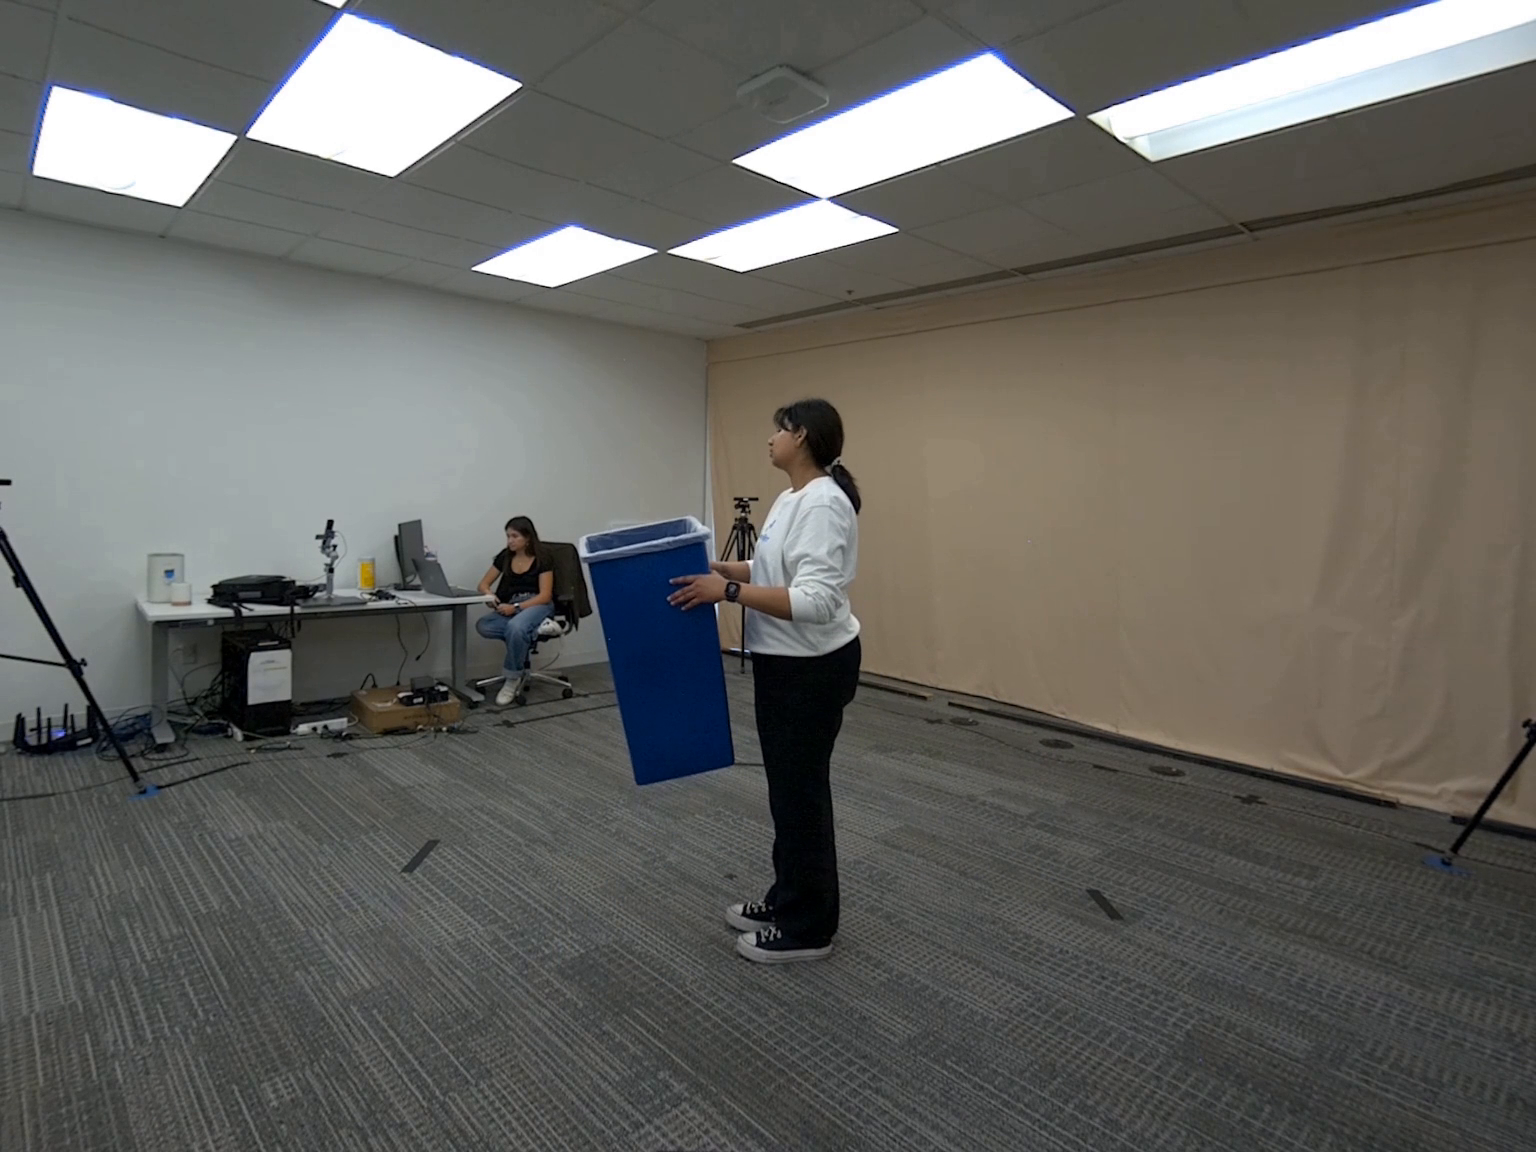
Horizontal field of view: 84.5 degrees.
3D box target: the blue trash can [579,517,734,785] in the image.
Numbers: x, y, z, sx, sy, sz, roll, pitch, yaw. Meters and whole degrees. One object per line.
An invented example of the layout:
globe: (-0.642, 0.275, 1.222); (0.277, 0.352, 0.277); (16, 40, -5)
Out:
blue trash can: (-0.330, 0.224, 2.561); (0.372, 0.707, 0.384); (-10, 11, -10)
